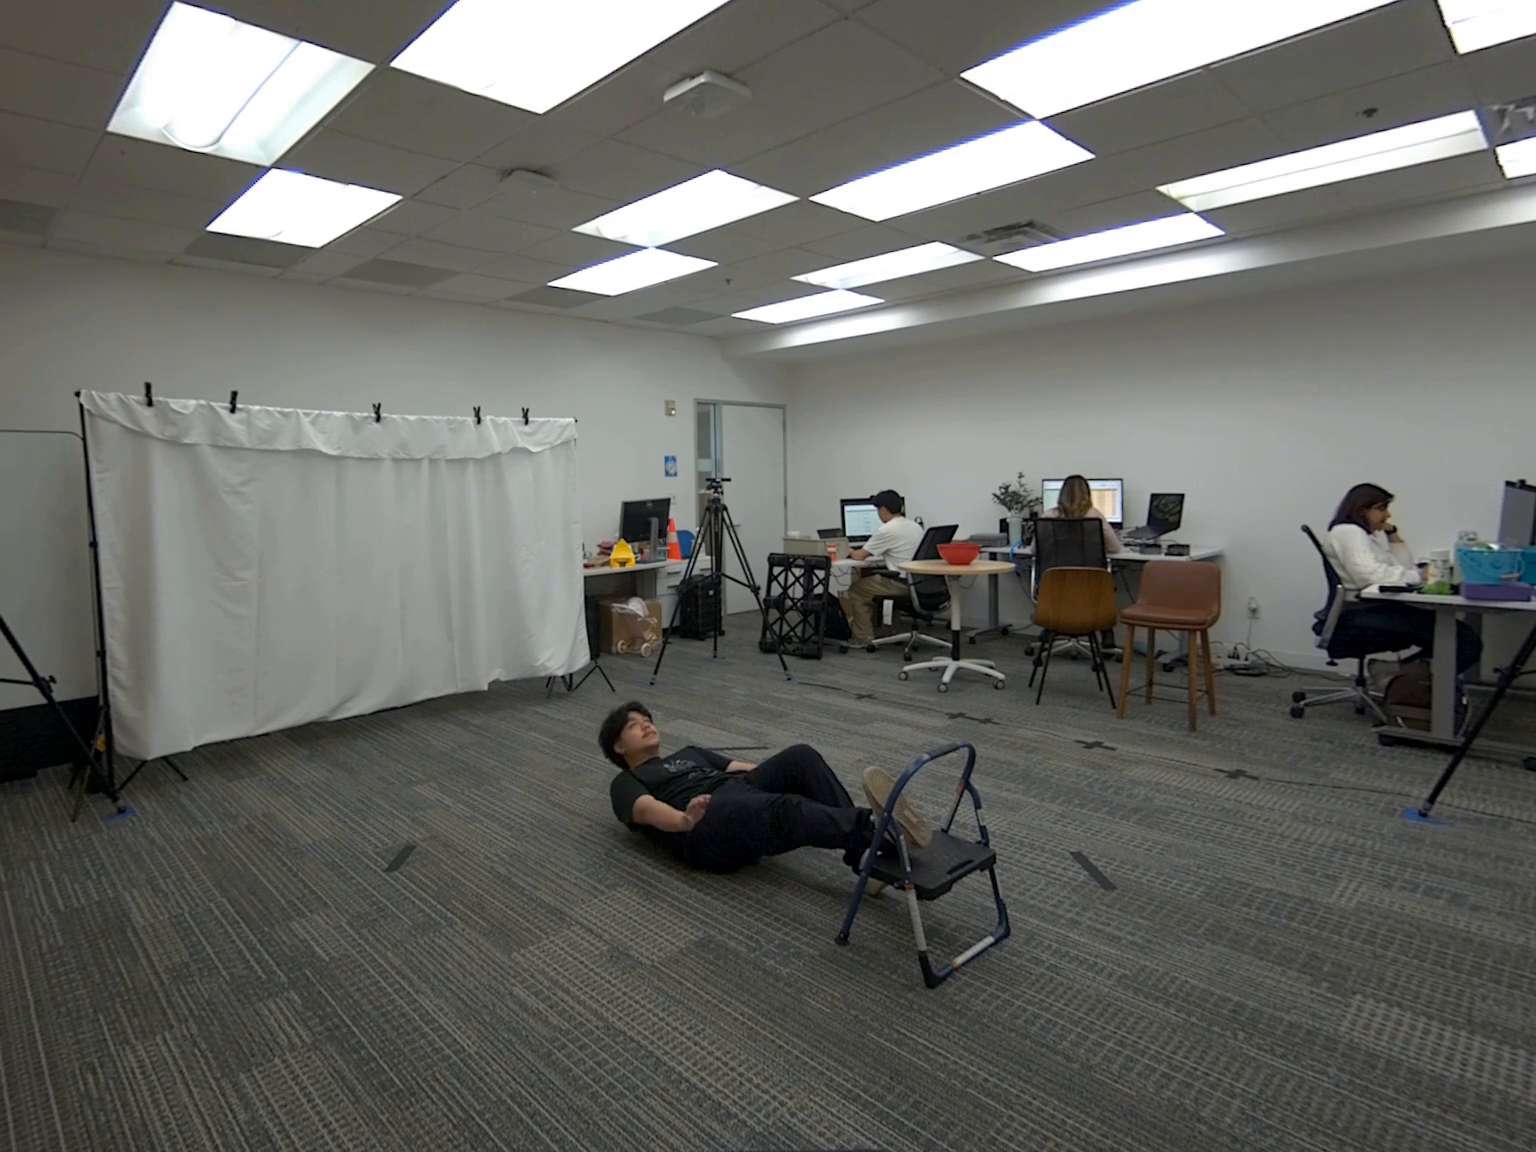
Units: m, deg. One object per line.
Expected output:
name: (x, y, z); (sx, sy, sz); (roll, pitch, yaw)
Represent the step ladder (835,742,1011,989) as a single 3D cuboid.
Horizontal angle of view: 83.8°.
step ladder: (0.473, 0.796, 2.557); (0.419, 0.604, 0.360); (-6, 6, -44)
